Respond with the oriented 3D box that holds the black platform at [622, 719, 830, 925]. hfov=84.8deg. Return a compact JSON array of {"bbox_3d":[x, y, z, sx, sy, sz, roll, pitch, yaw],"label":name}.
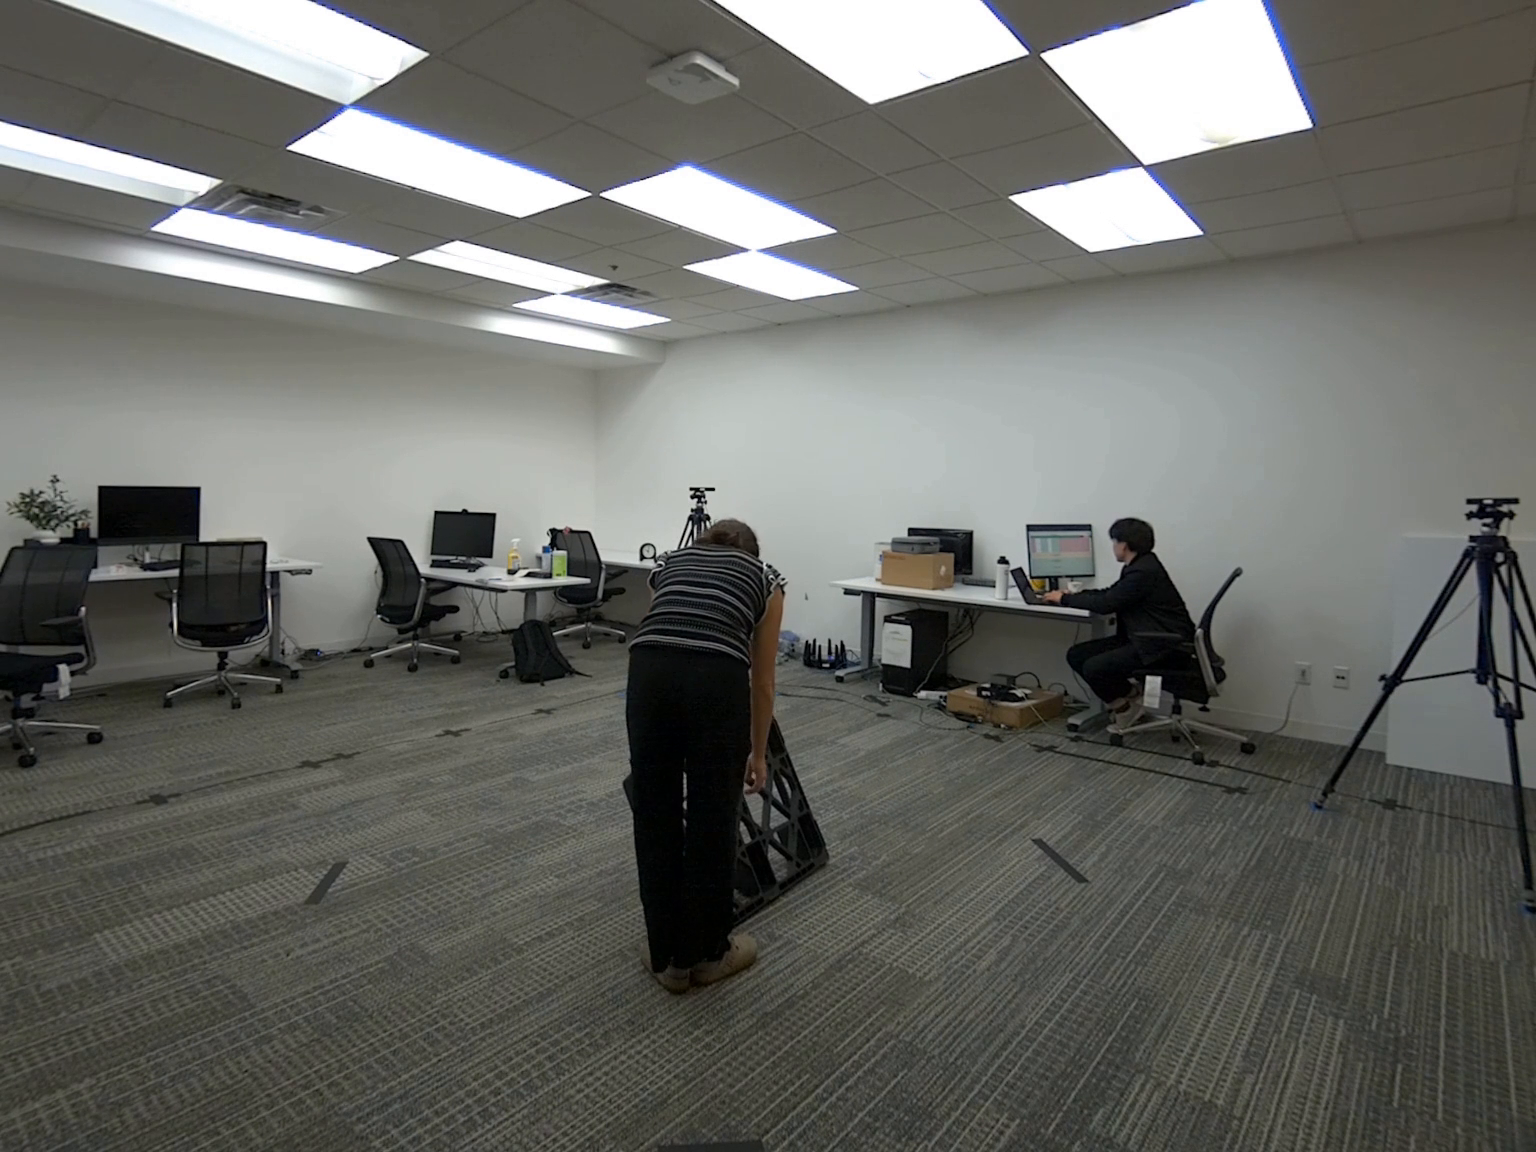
[{"bbox_3d":[-0.149,0.830,2.965,0.145,0.616,0.783,-31,-14,31],"label":"black platform"}]
